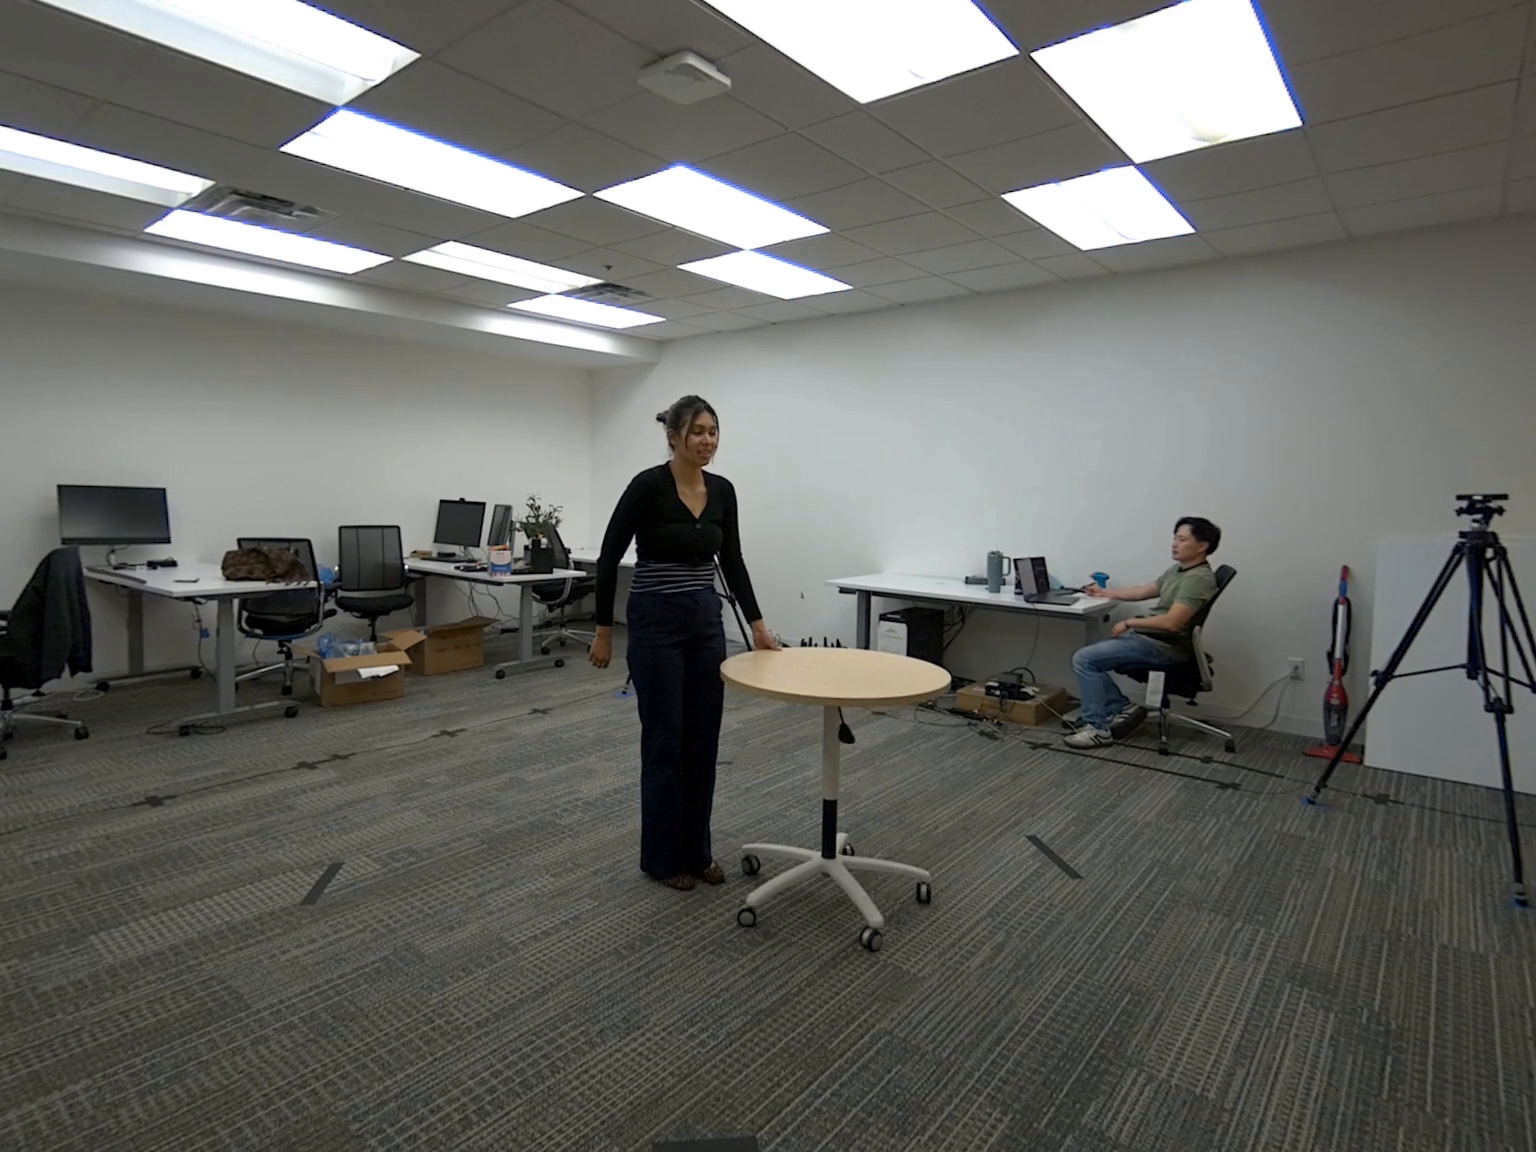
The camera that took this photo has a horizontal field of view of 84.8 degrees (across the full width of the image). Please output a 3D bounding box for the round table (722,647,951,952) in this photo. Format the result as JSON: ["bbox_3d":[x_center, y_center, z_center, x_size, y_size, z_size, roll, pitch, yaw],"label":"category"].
[{"bbox_3d":[0.205,0.706,2.884,0.763,0.791,0.768,1,4,-2],"label":"round table"}]
